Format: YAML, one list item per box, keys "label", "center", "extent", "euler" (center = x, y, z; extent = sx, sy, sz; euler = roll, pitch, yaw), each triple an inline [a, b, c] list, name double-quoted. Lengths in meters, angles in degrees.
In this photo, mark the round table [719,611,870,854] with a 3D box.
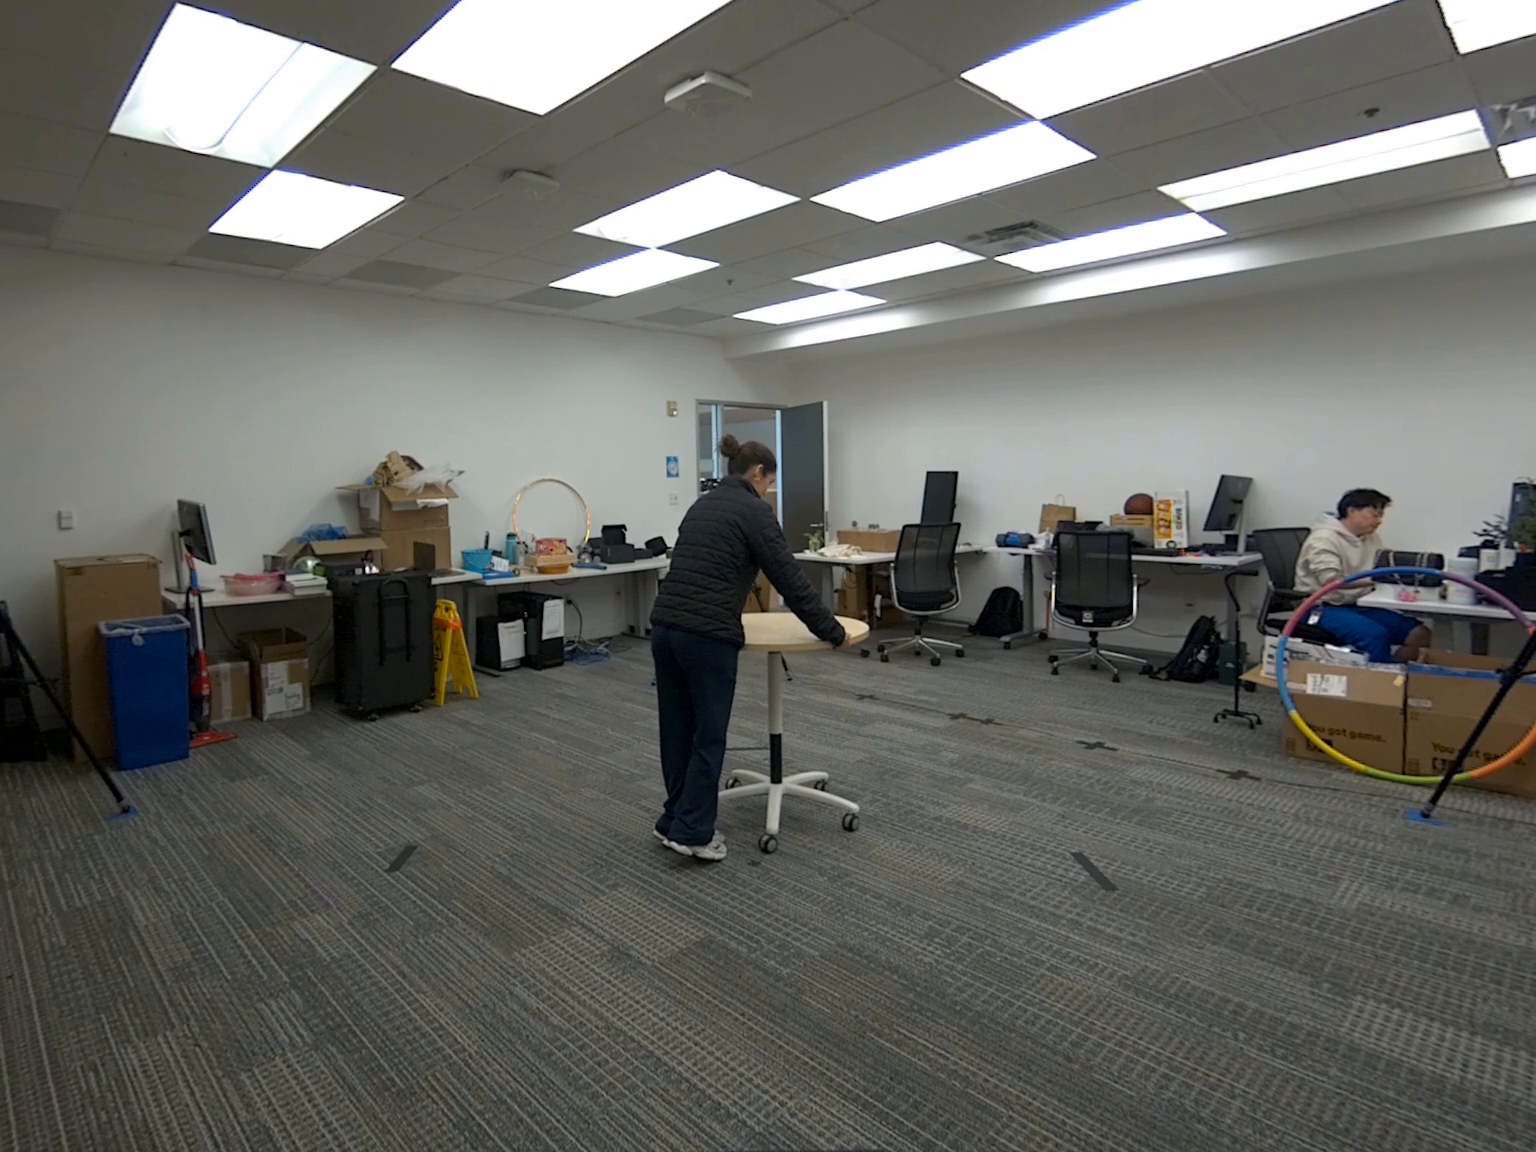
- label: "round table"
  center: [0.024, 0.600, 3.524]
  extent: [0.784, 0.784, 0.789]
  euler: [-1, 4, -2]
